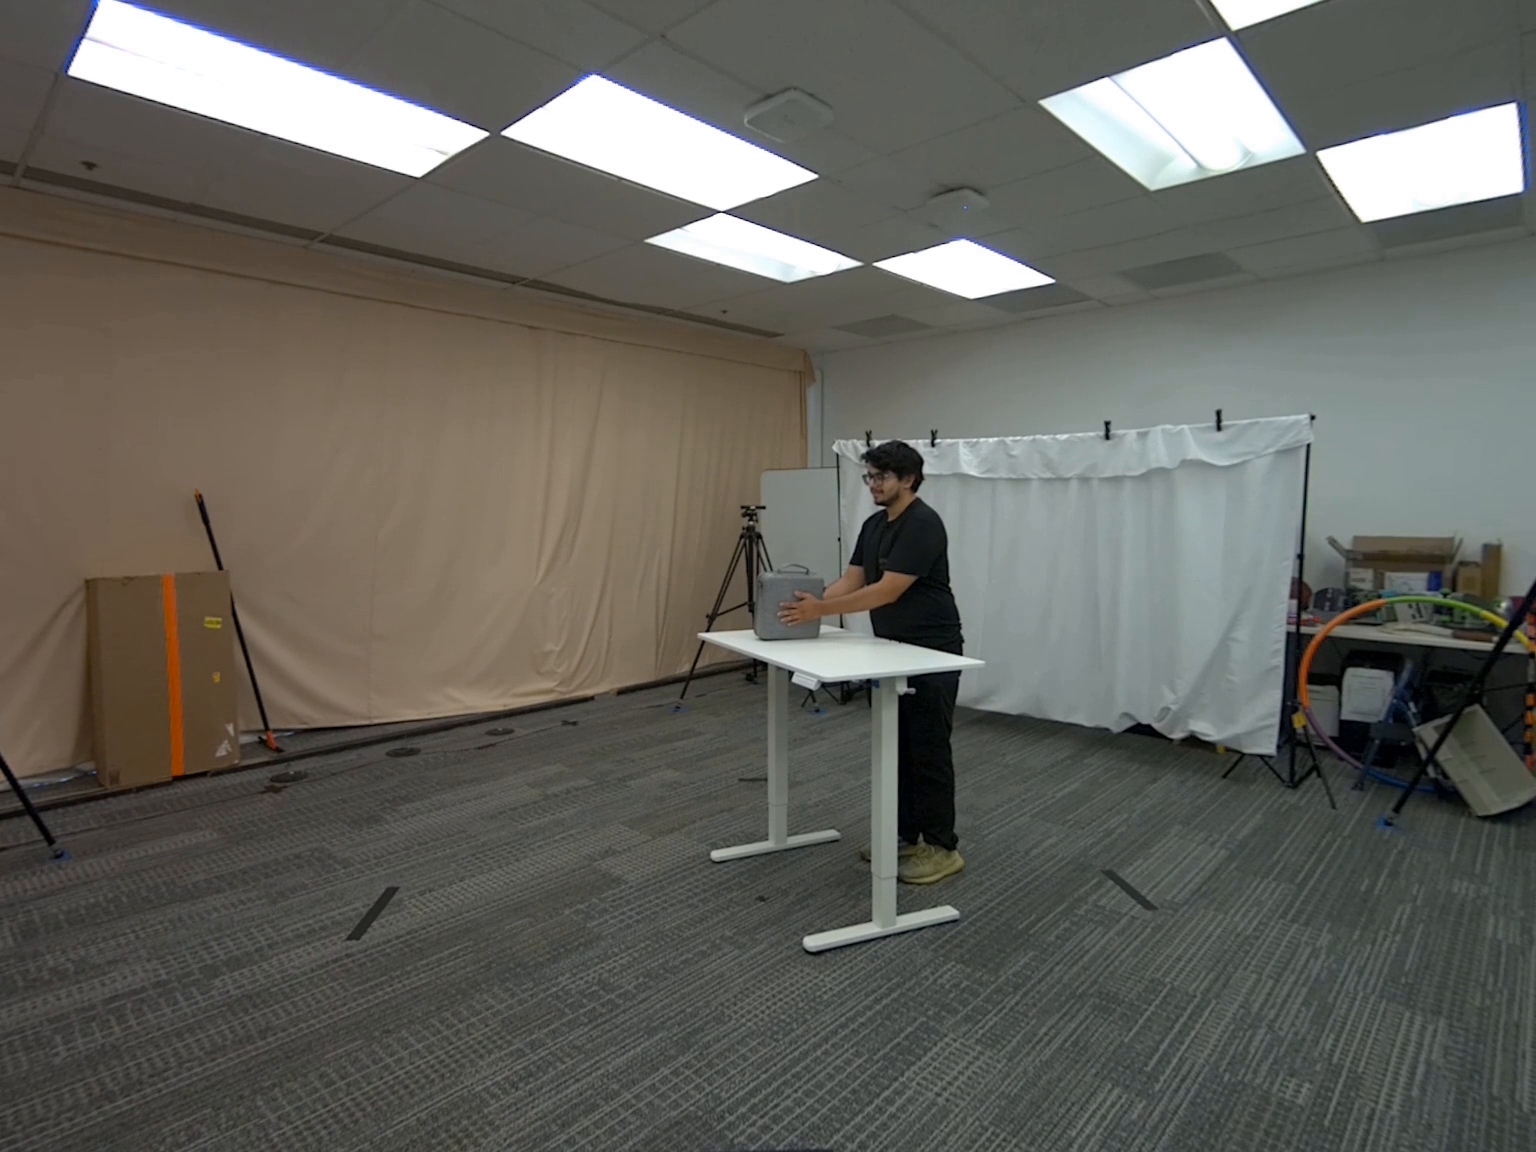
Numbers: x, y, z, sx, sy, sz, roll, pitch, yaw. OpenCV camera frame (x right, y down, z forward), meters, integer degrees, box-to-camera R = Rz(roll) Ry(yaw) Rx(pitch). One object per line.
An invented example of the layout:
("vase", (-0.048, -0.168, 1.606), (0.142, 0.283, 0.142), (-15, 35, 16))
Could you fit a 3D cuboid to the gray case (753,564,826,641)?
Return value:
("gray case", (0.086, 0.111, 3.224), (0.253, 0.259, 0.106), (1, 7, -12))
